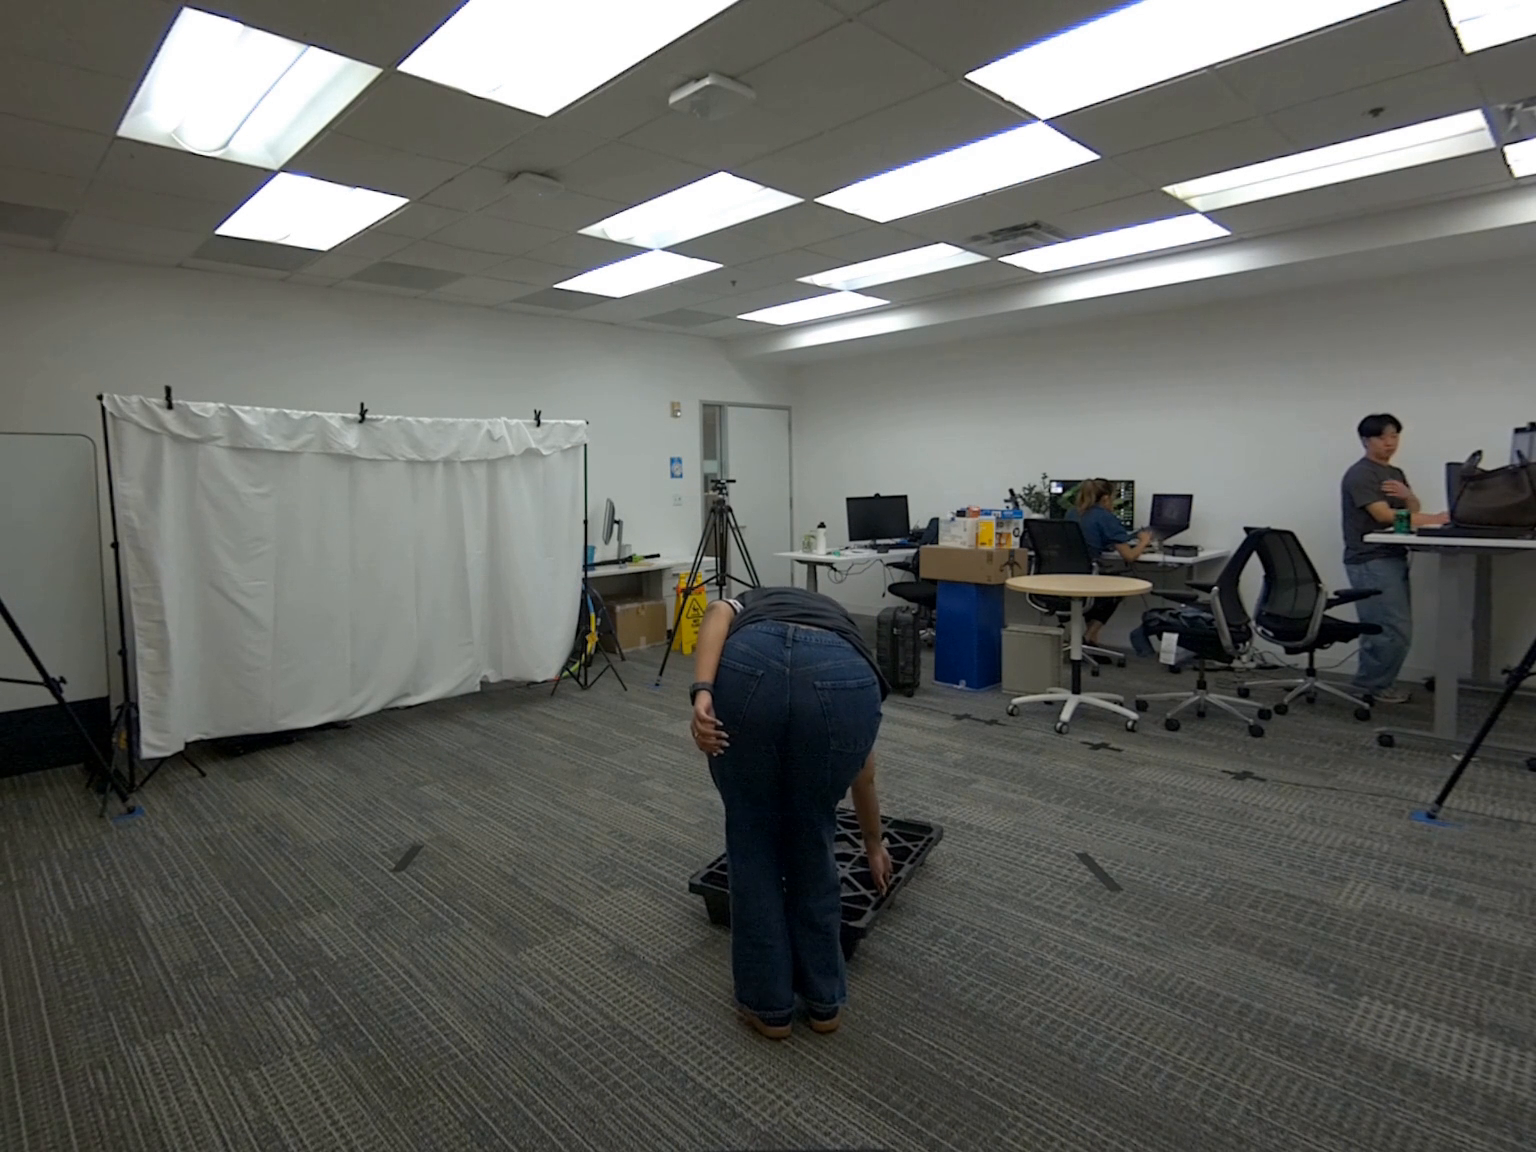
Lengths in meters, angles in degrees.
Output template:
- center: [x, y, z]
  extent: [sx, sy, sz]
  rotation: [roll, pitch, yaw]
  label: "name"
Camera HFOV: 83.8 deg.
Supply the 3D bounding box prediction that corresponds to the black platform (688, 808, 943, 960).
- center: [0.193, 0.996, 2.902]
  extent: [0.621, 0.142, 0.789]
  rotation: [3, 8, 29]
  label: "black platform"
